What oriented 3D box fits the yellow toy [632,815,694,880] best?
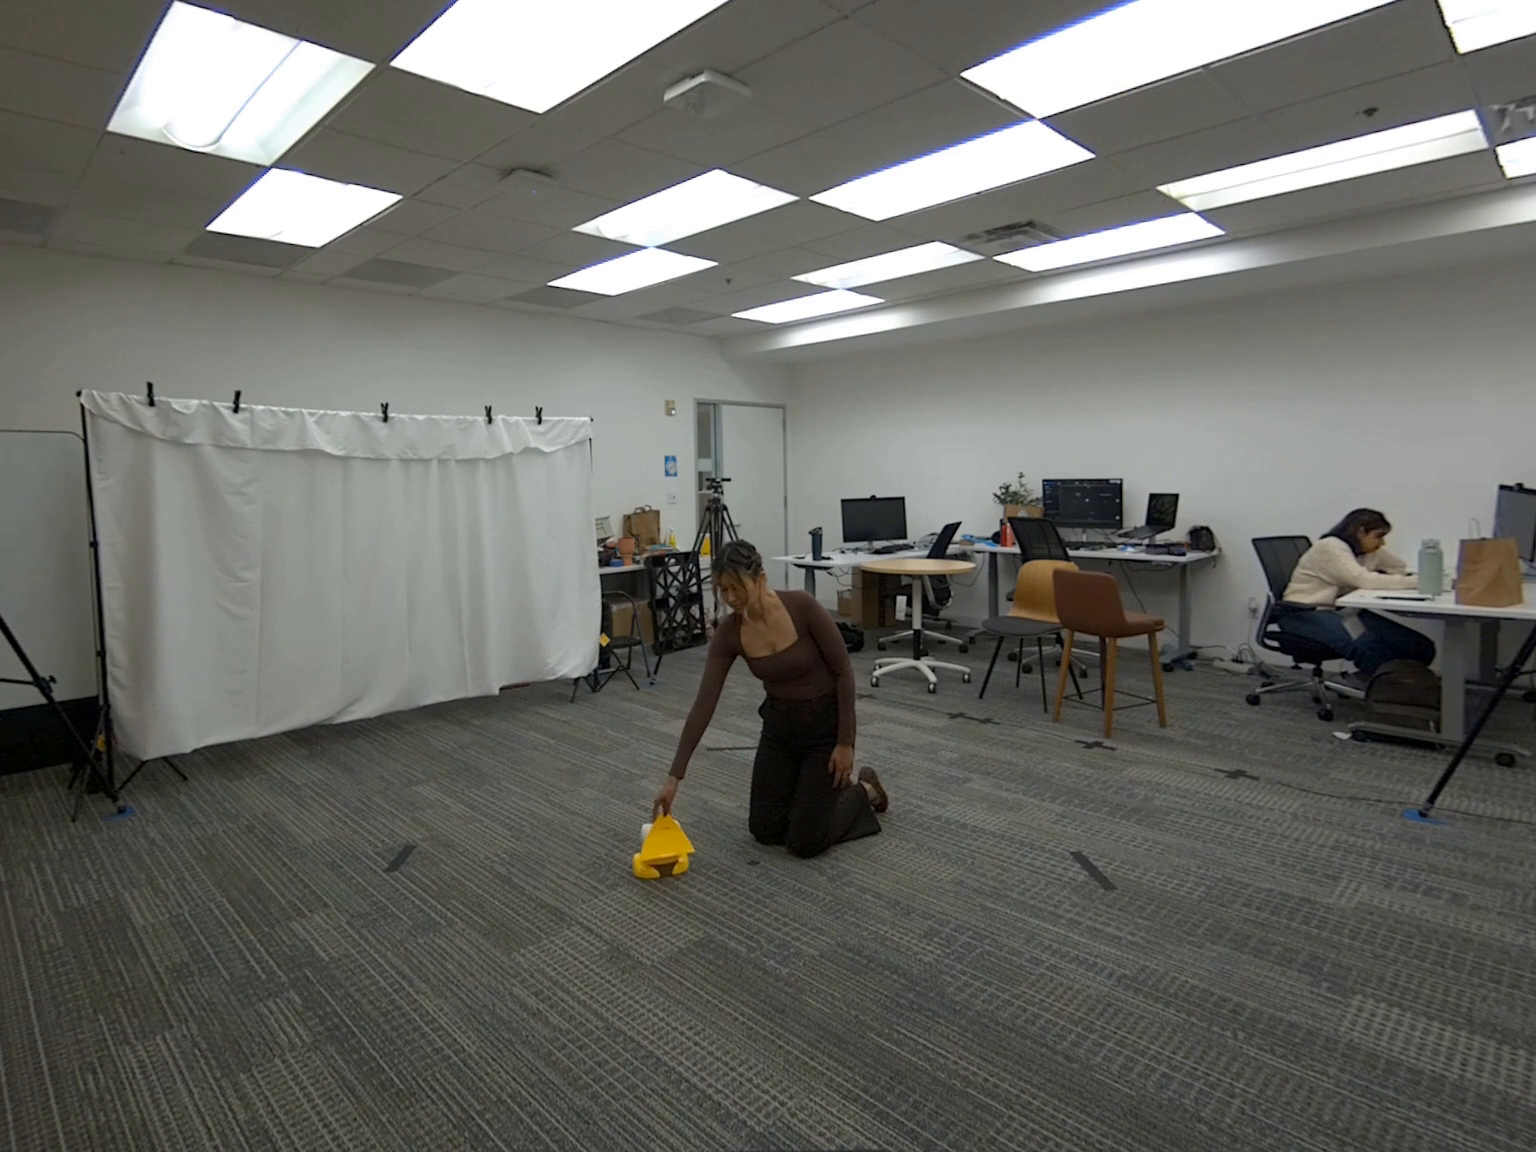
[{"bbox_3d":[-0.381,0.937,3.070,0.201,0.230,0.197,-3,4,-21],"label":"yellow toy"}]
